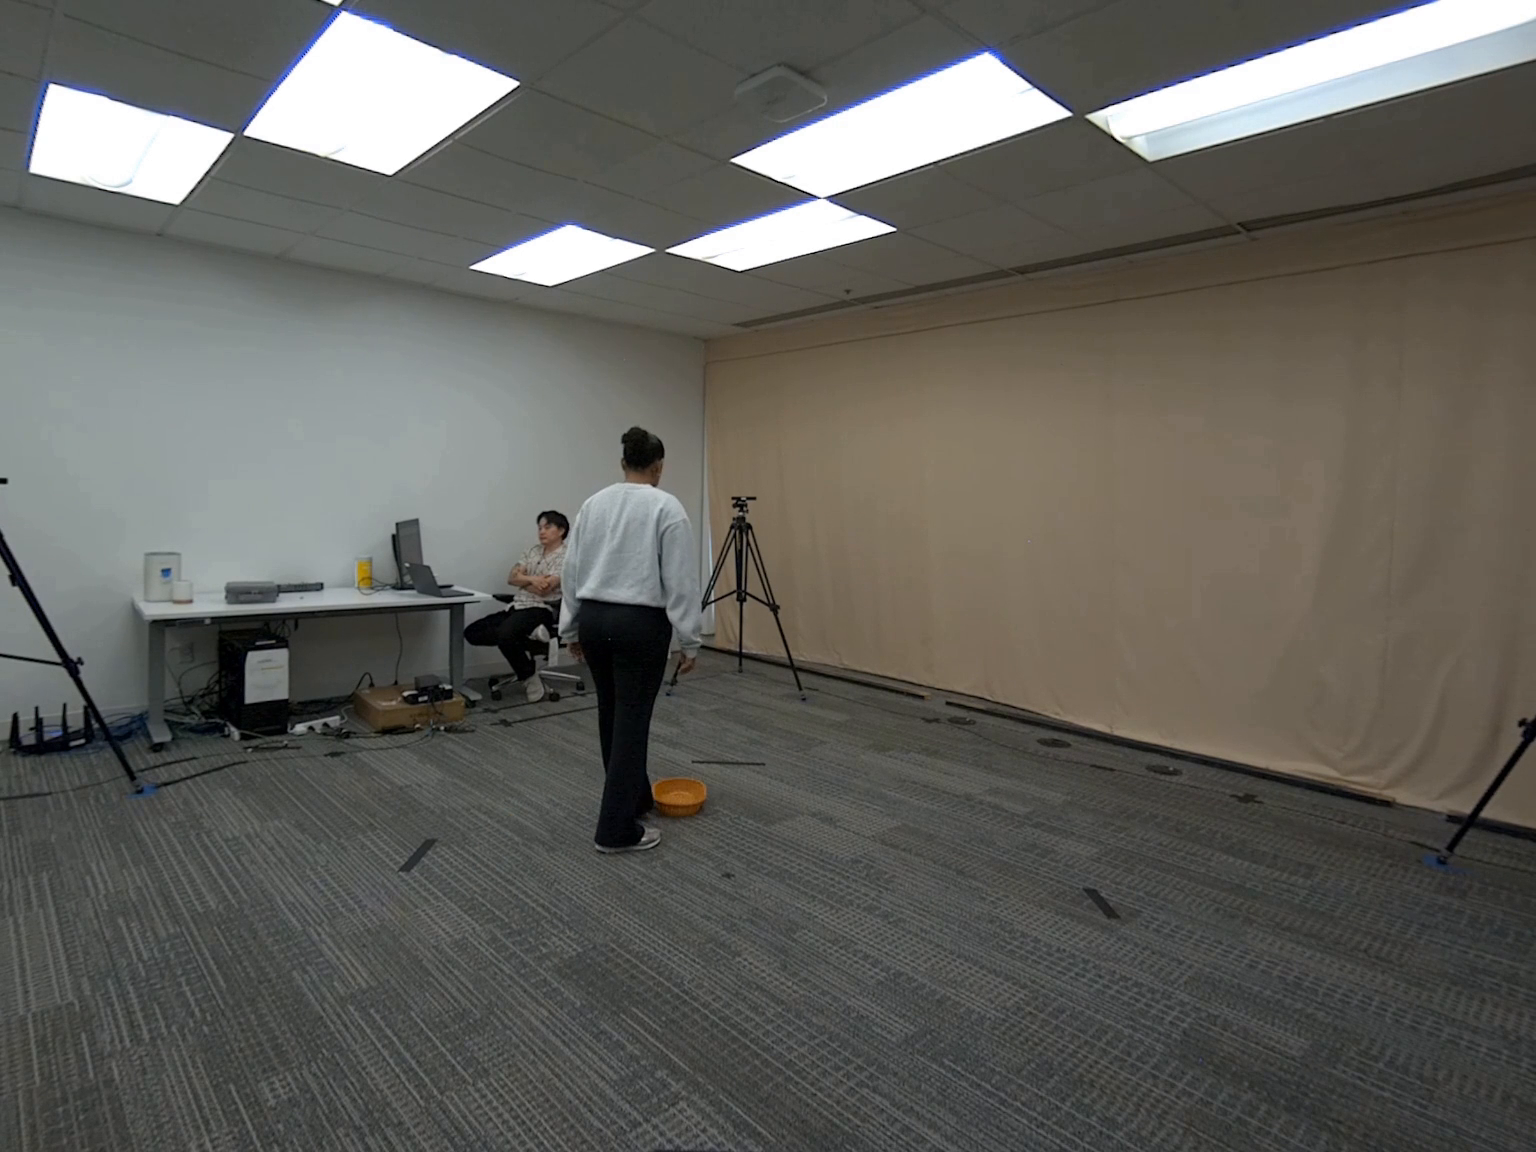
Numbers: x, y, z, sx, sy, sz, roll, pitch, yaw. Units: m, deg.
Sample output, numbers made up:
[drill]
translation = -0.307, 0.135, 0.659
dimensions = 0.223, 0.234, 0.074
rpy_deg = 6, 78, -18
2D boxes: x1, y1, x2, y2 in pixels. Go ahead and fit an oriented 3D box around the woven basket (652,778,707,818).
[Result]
[woven basket]
translation = -0.436, 0.998, 3.794
dimensions = 0.252, 0.073, 0.351
rpy_deg = 2, 5, -1
